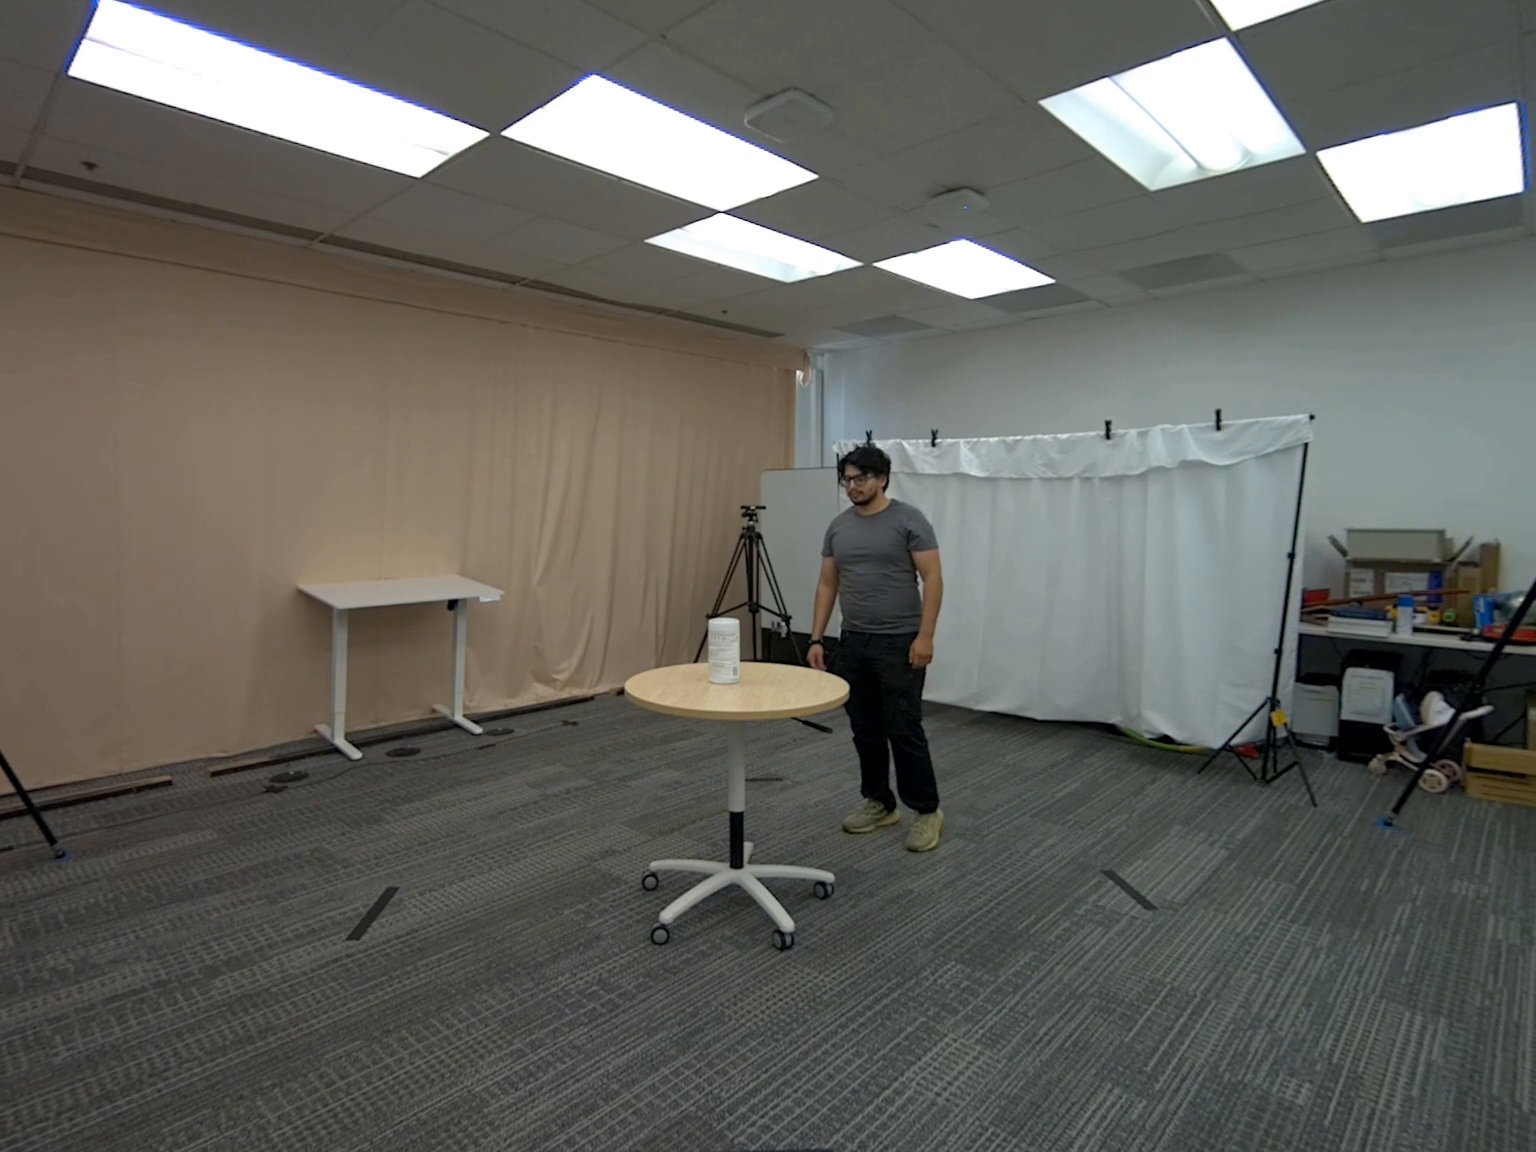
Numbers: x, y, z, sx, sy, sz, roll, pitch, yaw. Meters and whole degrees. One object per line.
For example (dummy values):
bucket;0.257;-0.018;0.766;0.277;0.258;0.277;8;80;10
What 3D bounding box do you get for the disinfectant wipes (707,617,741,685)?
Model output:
disinfectant wipes;-0.148;0.259;2.913;0.118;0.217;0.118;0;3;-2
